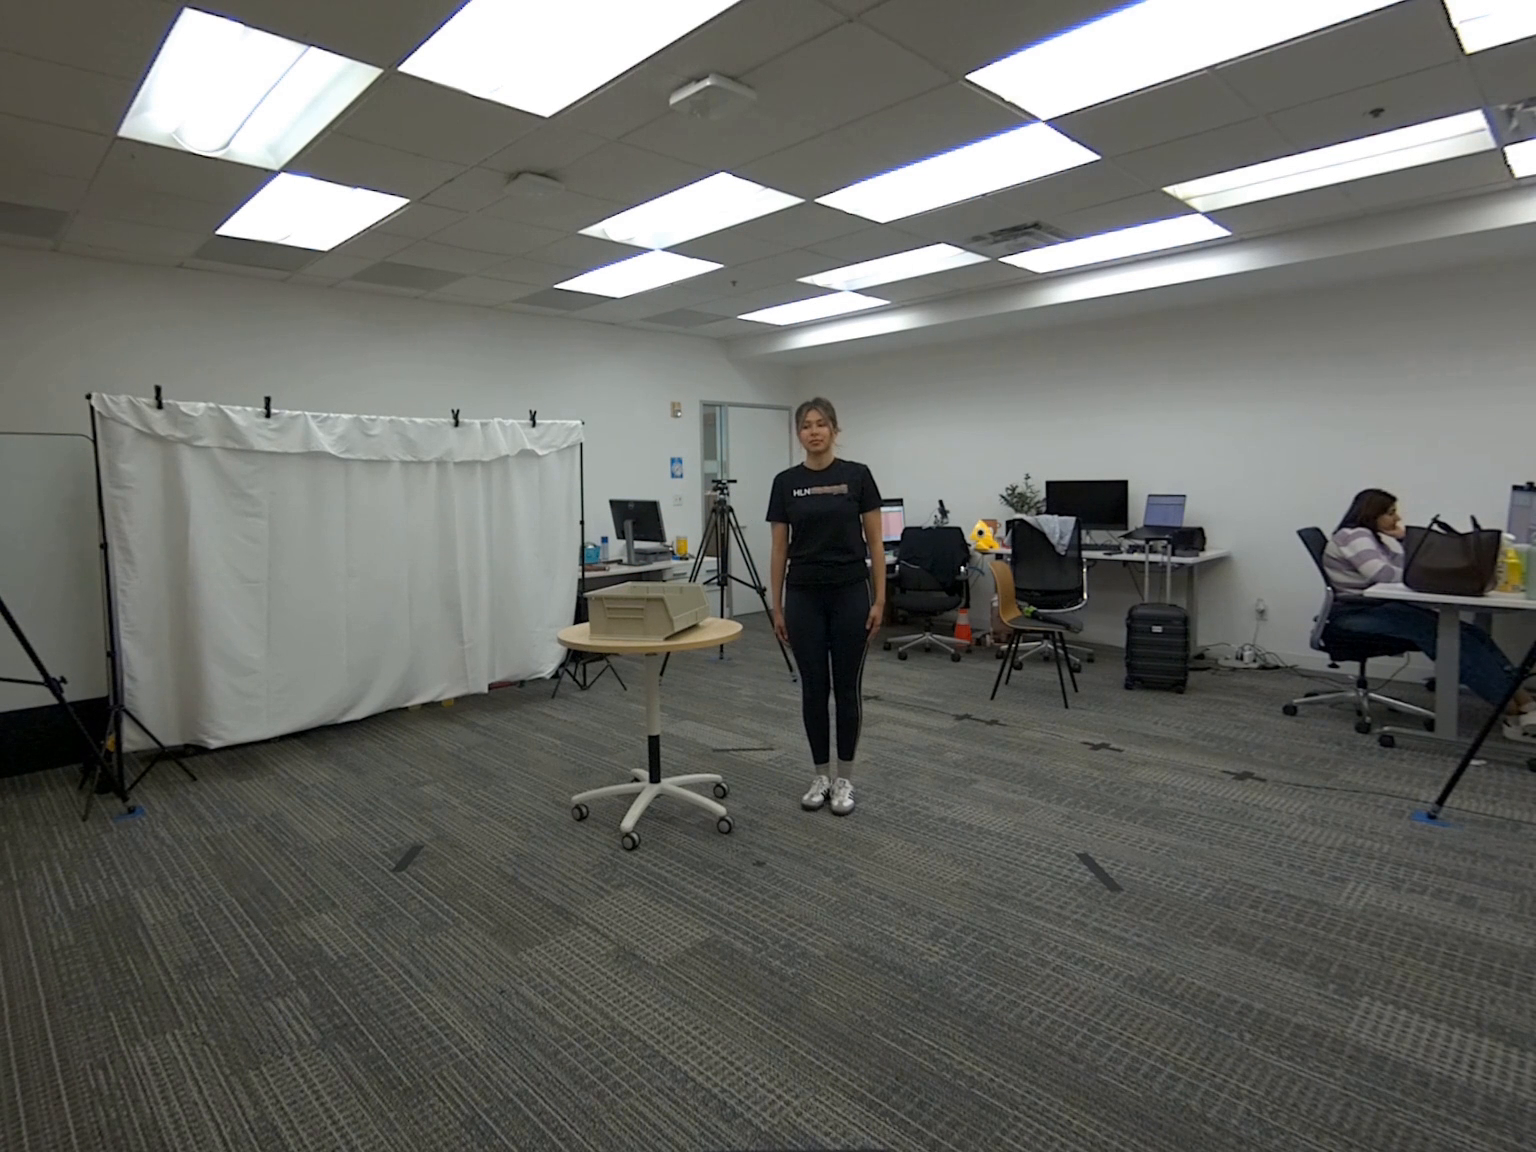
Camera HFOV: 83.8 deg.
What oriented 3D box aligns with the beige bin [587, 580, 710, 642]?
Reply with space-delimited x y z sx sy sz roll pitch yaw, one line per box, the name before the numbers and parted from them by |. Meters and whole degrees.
beige bin | -0.476 0.139 3.476 0.383 0.188 0.417 -1 6 17
